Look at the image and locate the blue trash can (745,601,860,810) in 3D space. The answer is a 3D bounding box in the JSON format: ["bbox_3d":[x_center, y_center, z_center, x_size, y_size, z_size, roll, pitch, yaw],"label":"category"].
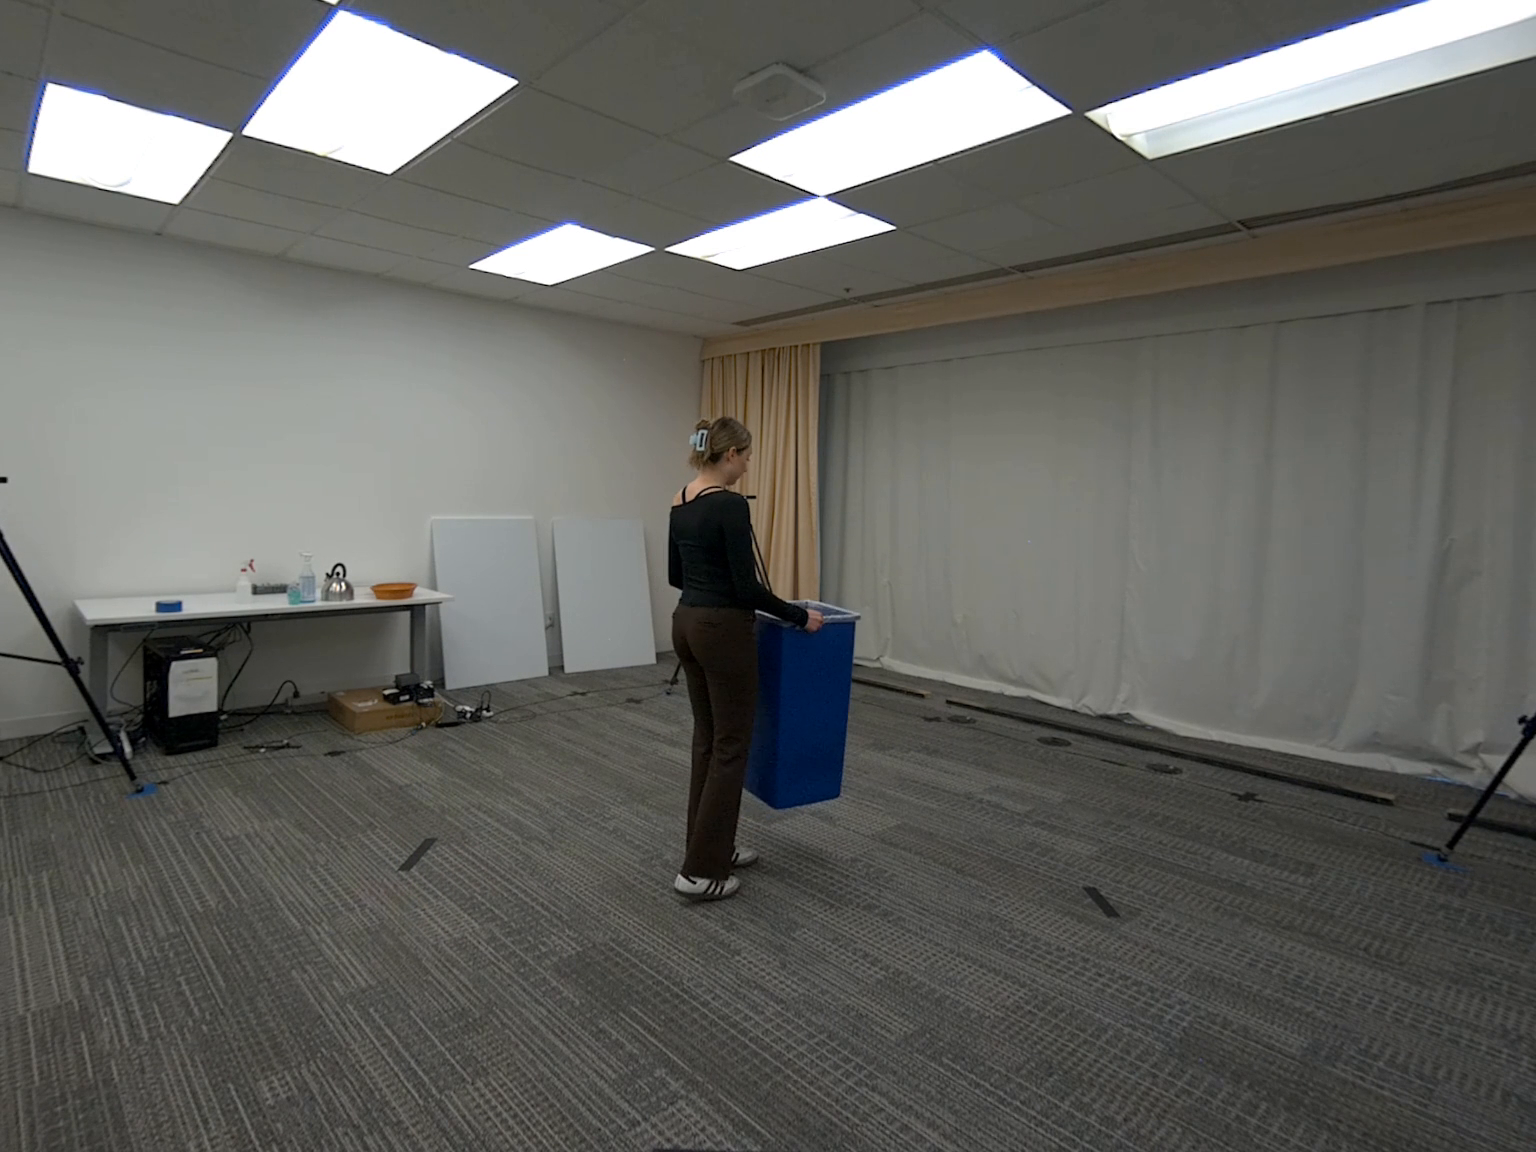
[{"bbox_3d":[0.084,0.480,3.235,0.370,0.711,0.383,0,6,-32],"label":"blue trash can"}]
